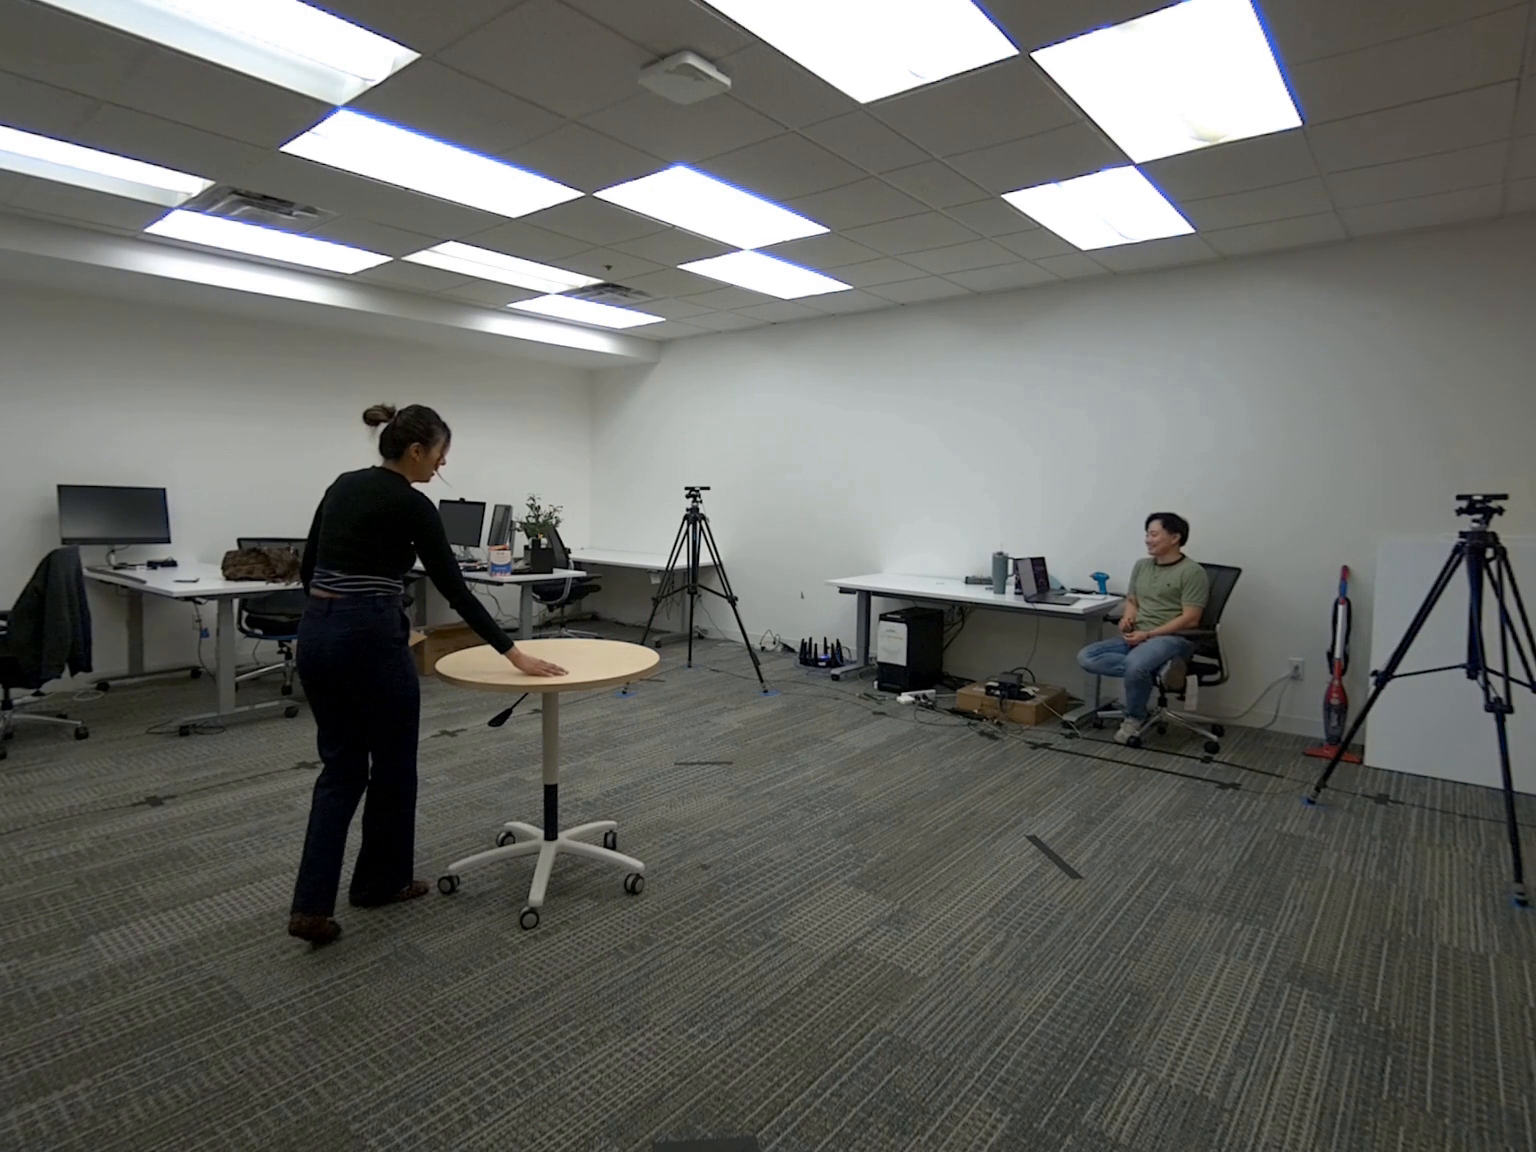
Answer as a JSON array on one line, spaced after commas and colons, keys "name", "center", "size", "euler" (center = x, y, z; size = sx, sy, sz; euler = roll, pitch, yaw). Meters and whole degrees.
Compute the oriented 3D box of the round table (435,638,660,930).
[{"name": "round table", "center": [-0.778, 0.681, 2.997], "size": [0.763, 0.791, 0.768], "euler": [0, 4, -2]}]
